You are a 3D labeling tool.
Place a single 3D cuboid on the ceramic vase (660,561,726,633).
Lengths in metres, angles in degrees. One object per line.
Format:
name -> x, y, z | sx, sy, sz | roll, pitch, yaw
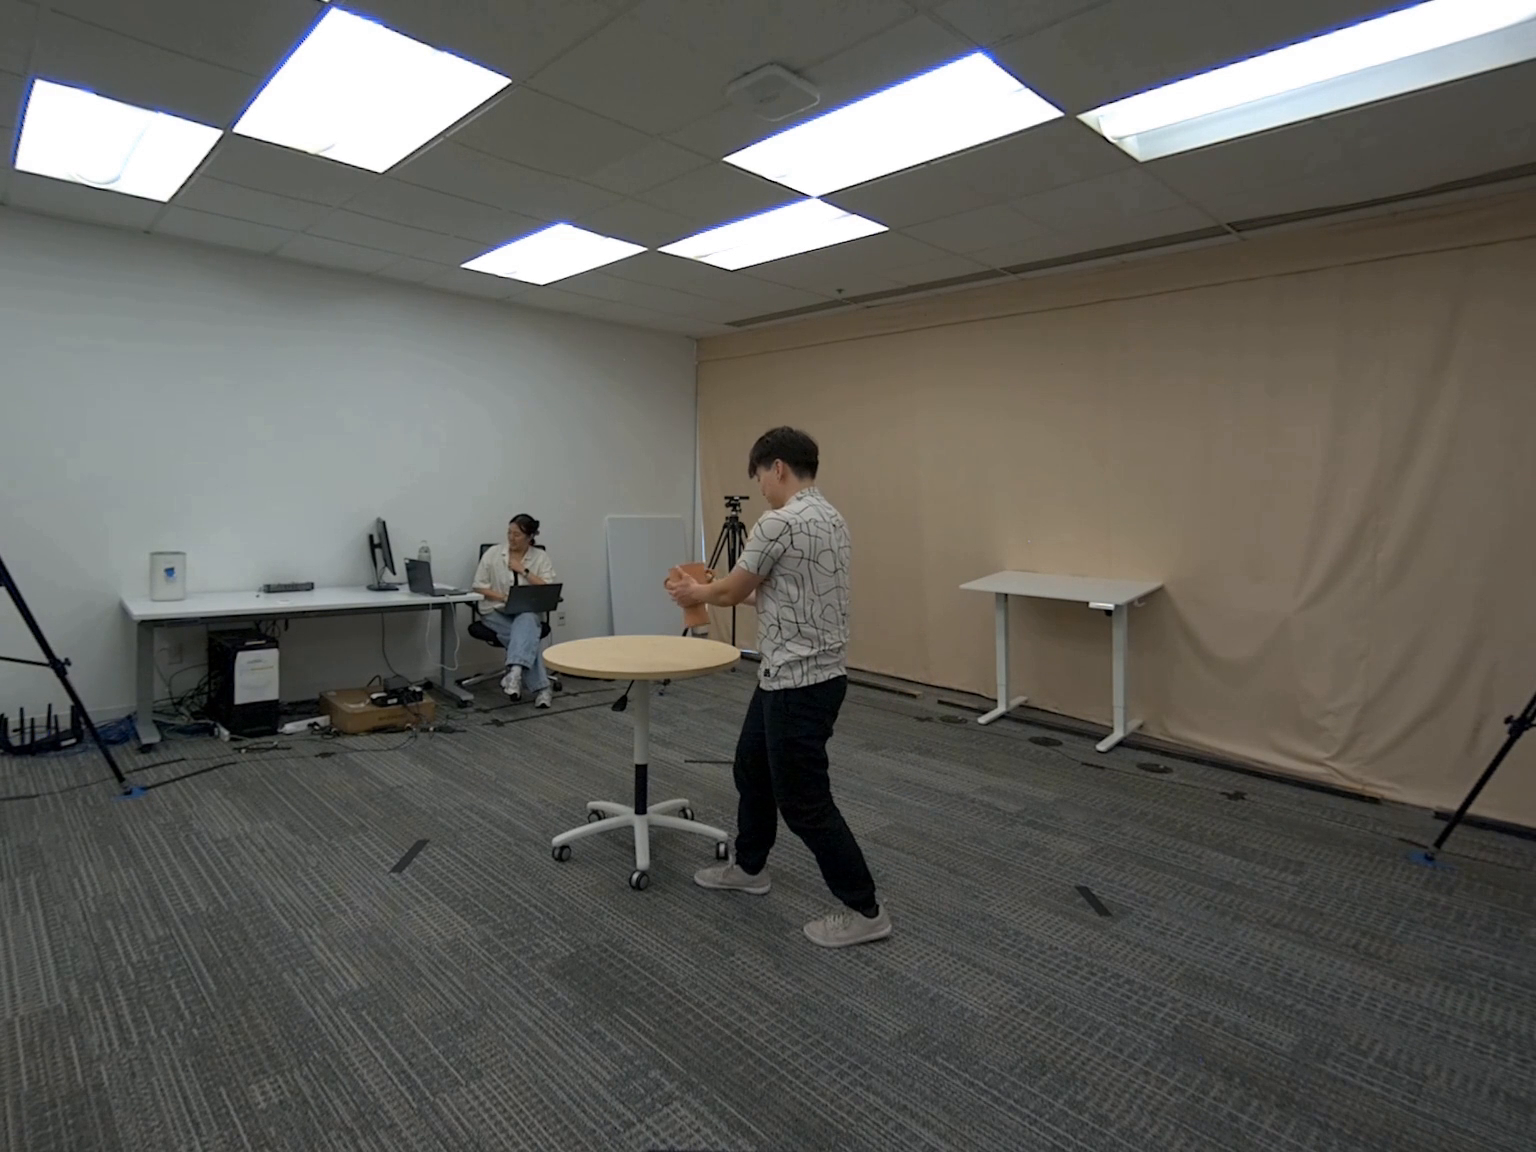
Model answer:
ceramic vase -> -0.270, 0.075, 3.021 | 0.132, 0.221, 0.161 | -7, -6, -36
